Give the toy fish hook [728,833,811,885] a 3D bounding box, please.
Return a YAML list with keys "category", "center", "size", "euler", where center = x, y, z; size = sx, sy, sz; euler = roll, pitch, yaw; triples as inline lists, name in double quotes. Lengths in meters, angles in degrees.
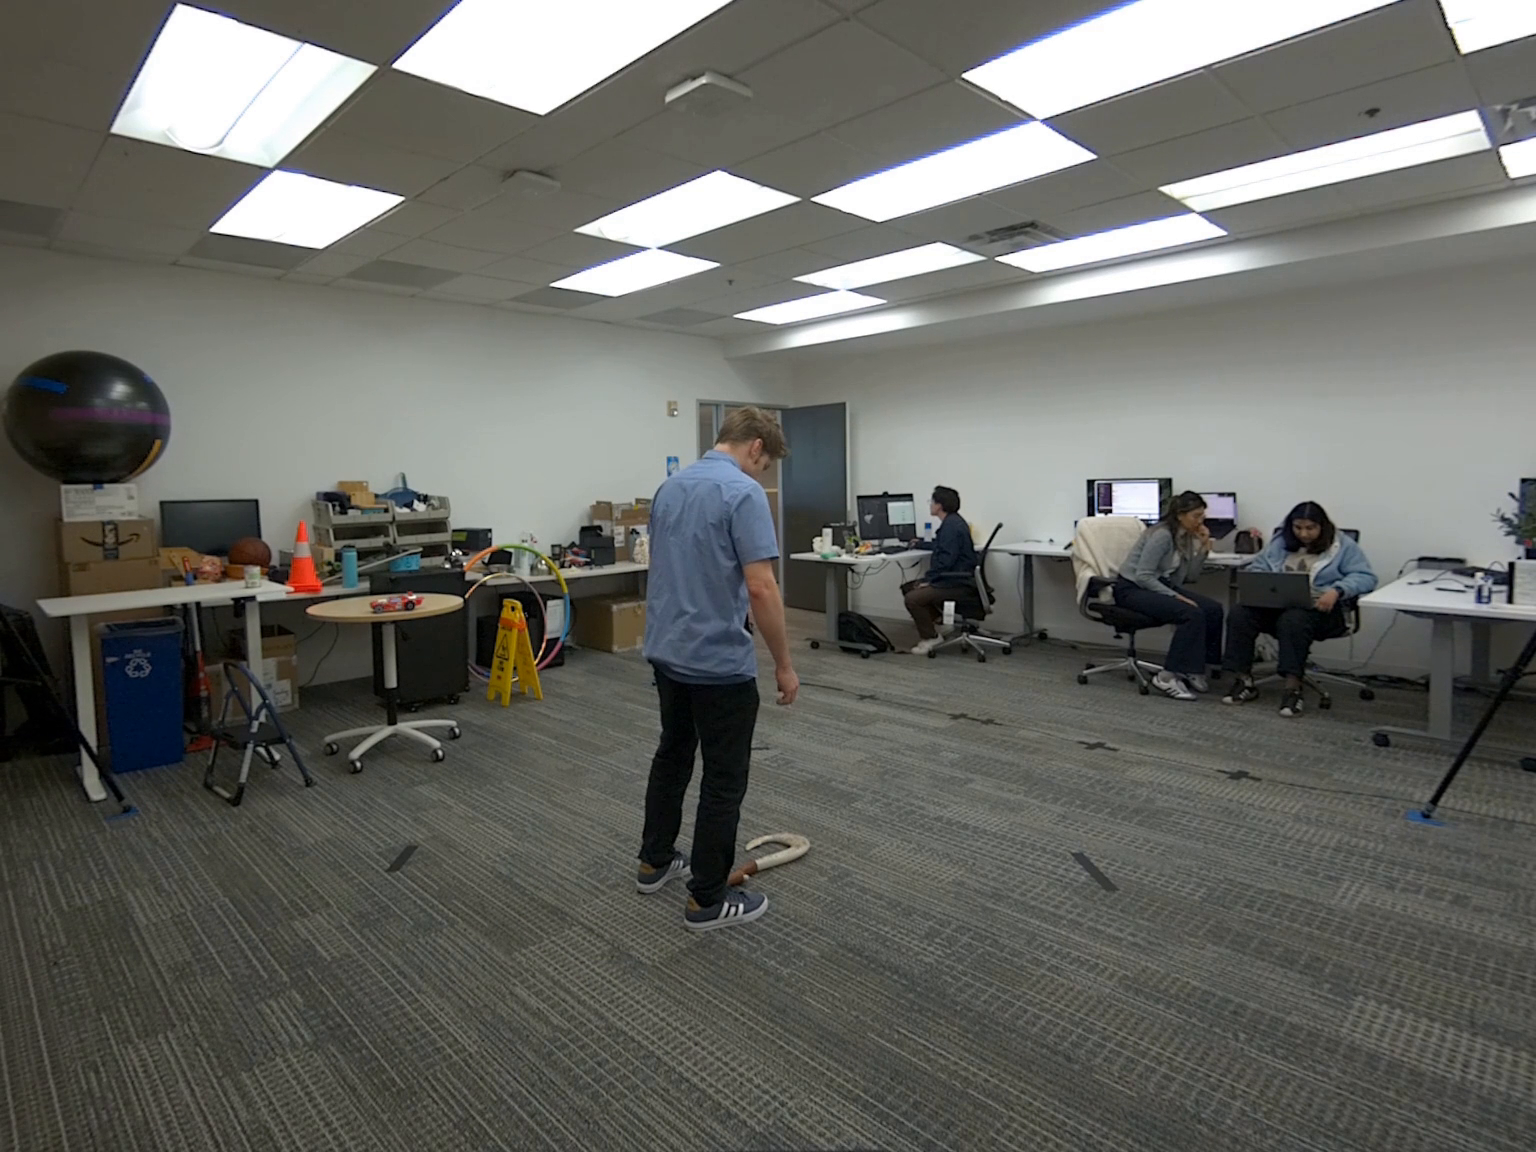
- category: "toy fish hook"
  center: [-0.051, 1.029, 3.101]
  size: [0.230, 0.048, 0.493]
  euler: [-6, 1, 41]
